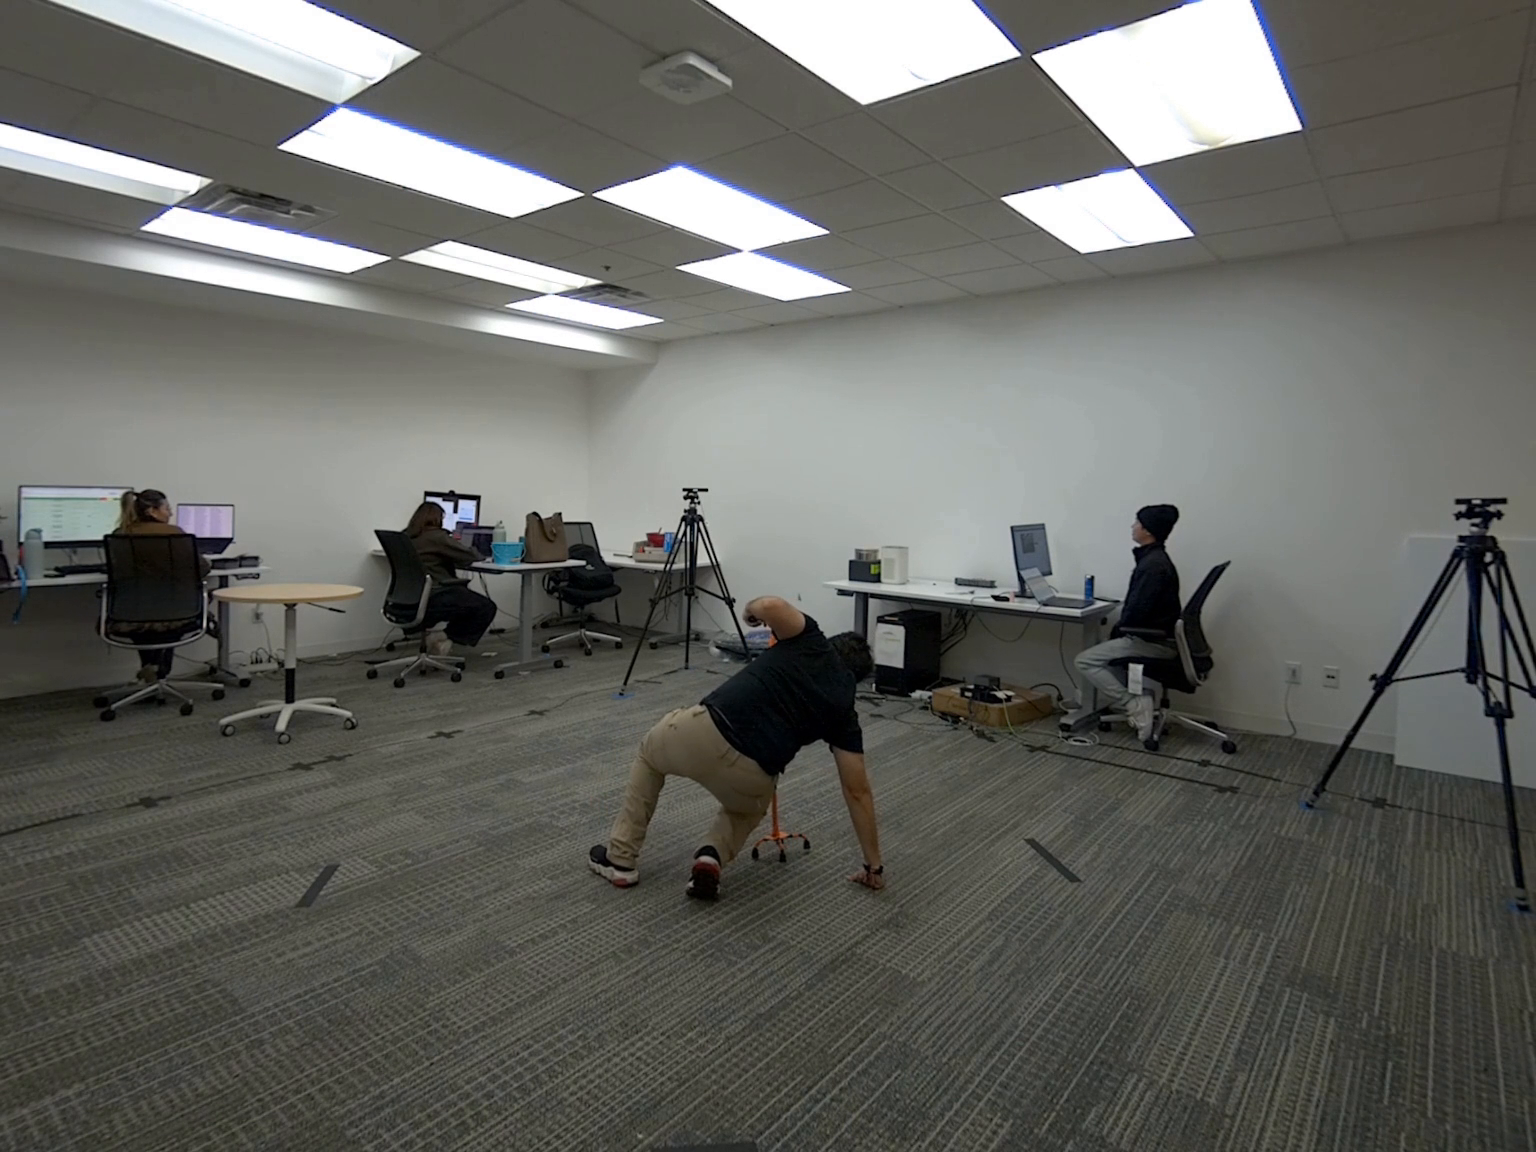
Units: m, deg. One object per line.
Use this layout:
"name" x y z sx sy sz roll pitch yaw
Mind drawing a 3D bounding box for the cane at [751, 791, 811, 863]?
"cane" 0.018 0.606 3.283 0.155 0.913 0.200 -7 -6 32
